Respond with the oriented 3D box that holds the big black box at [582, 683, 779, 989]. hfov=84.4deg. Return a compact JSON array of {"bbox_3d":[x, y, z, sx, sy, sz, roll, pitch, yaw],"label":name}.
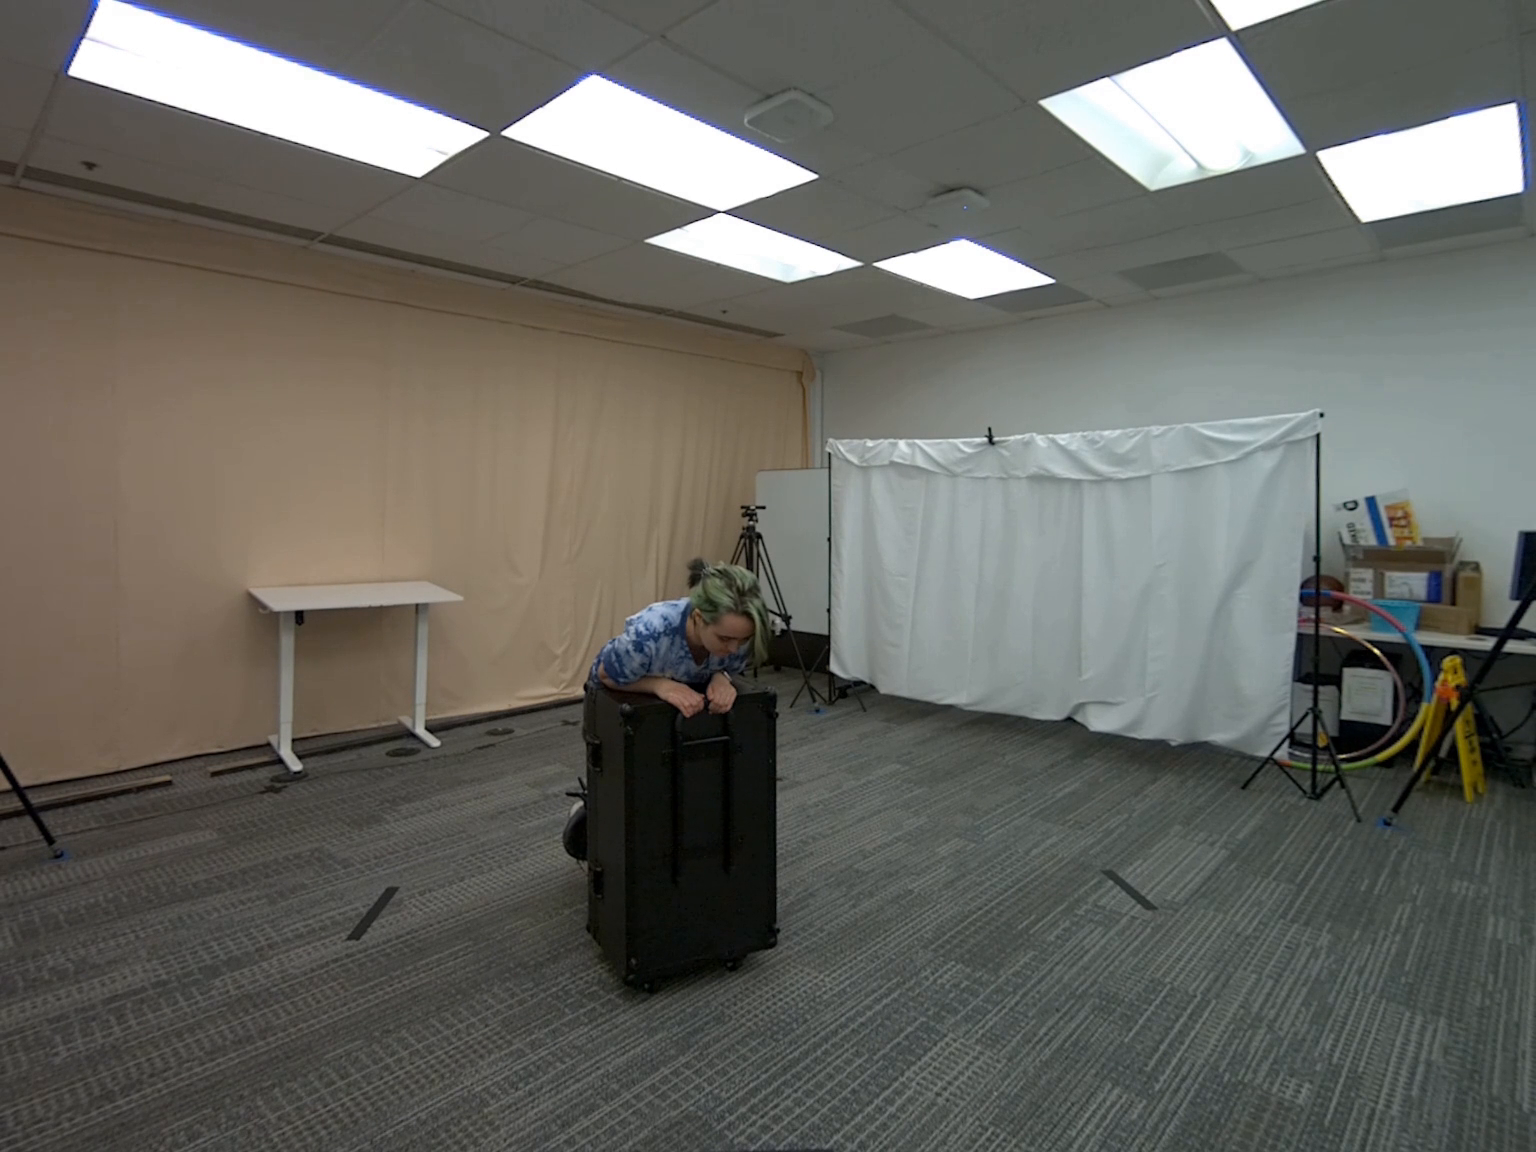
[{"bbox_3d":[-0.259,0.707,2.542,0.508,0.859,0.407,-2,4,-28],"label":"big black box"}]
